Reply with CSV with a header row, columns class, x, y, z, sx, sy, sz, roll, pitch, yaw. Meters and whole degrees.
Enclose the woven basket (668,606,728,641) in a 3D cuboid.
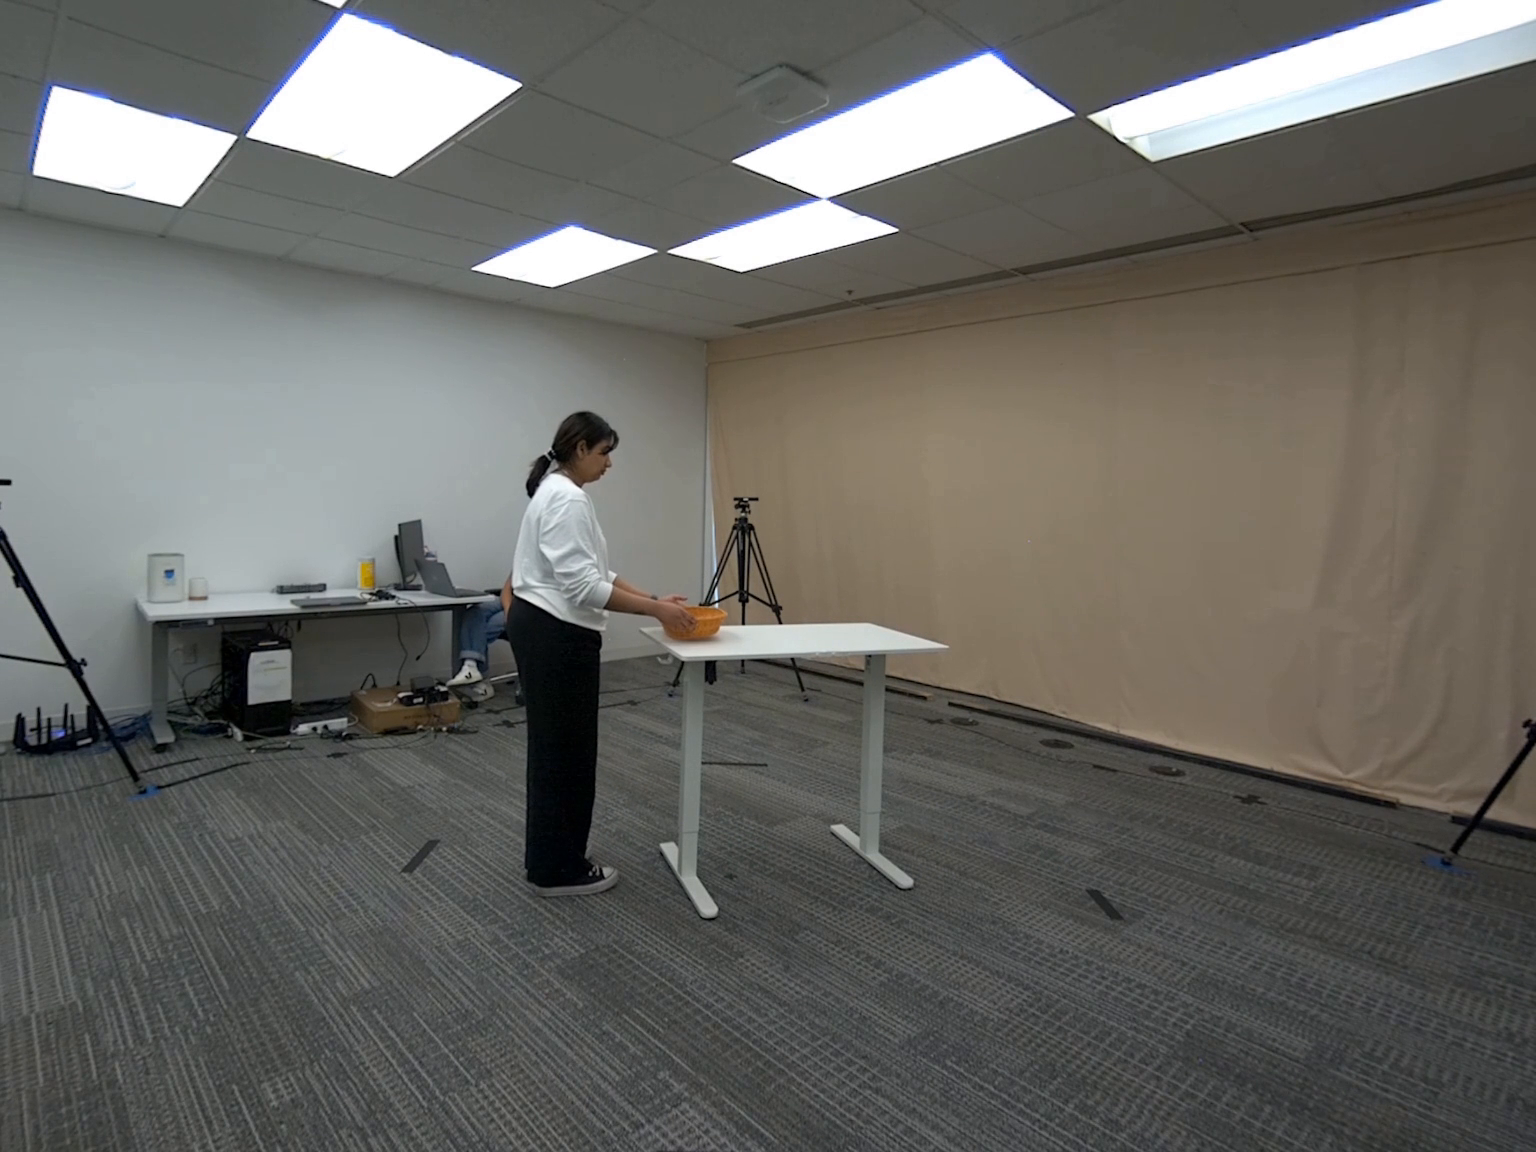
class,x,y,z,sx,sy,sz,roll,pitch,yaw
woven basket,-0.306,0.166,3.074,0.252,0.073,0.352,0,5,-3
